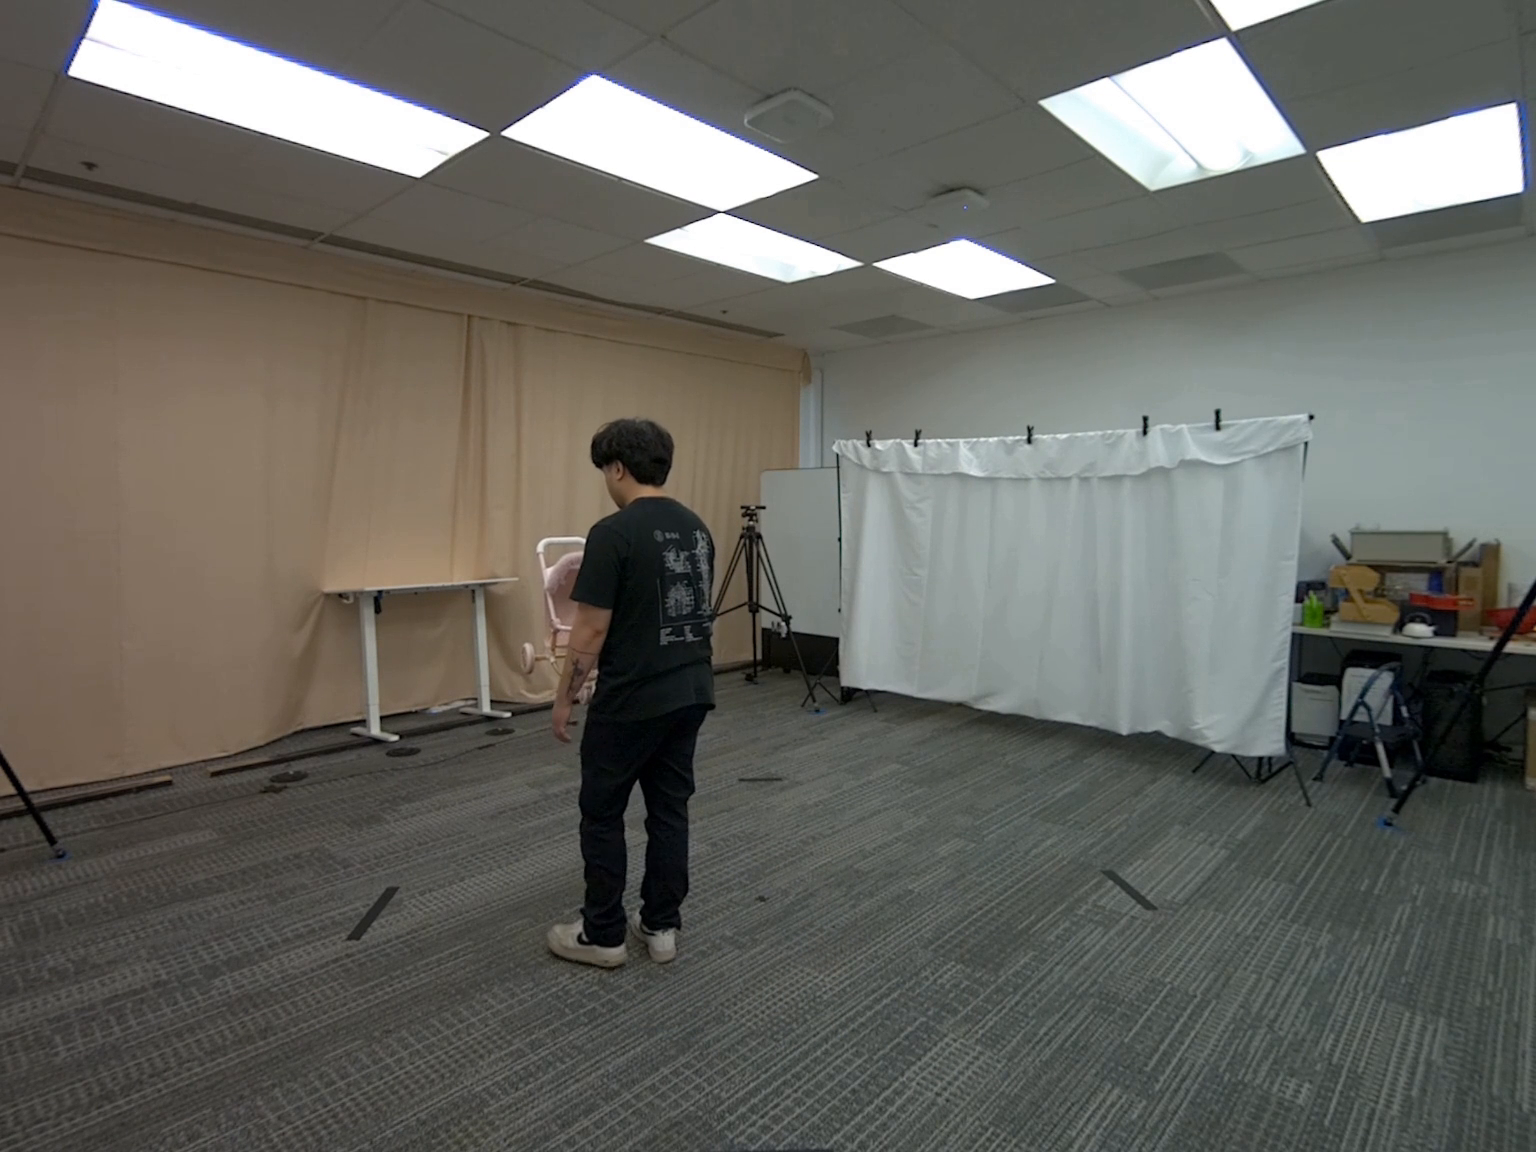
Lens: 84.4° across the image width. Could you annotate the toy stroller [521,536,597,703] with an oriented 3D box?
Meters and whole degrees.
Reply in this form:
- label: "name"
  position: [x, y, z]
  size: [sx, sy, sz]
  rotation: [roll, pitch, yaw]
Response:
- label: "toy stroller"
  position: [-0.673, 0.153, 2.903]
  size: [0.274, 0.533, 0.351]
  rotation: [2, 6, -28]
